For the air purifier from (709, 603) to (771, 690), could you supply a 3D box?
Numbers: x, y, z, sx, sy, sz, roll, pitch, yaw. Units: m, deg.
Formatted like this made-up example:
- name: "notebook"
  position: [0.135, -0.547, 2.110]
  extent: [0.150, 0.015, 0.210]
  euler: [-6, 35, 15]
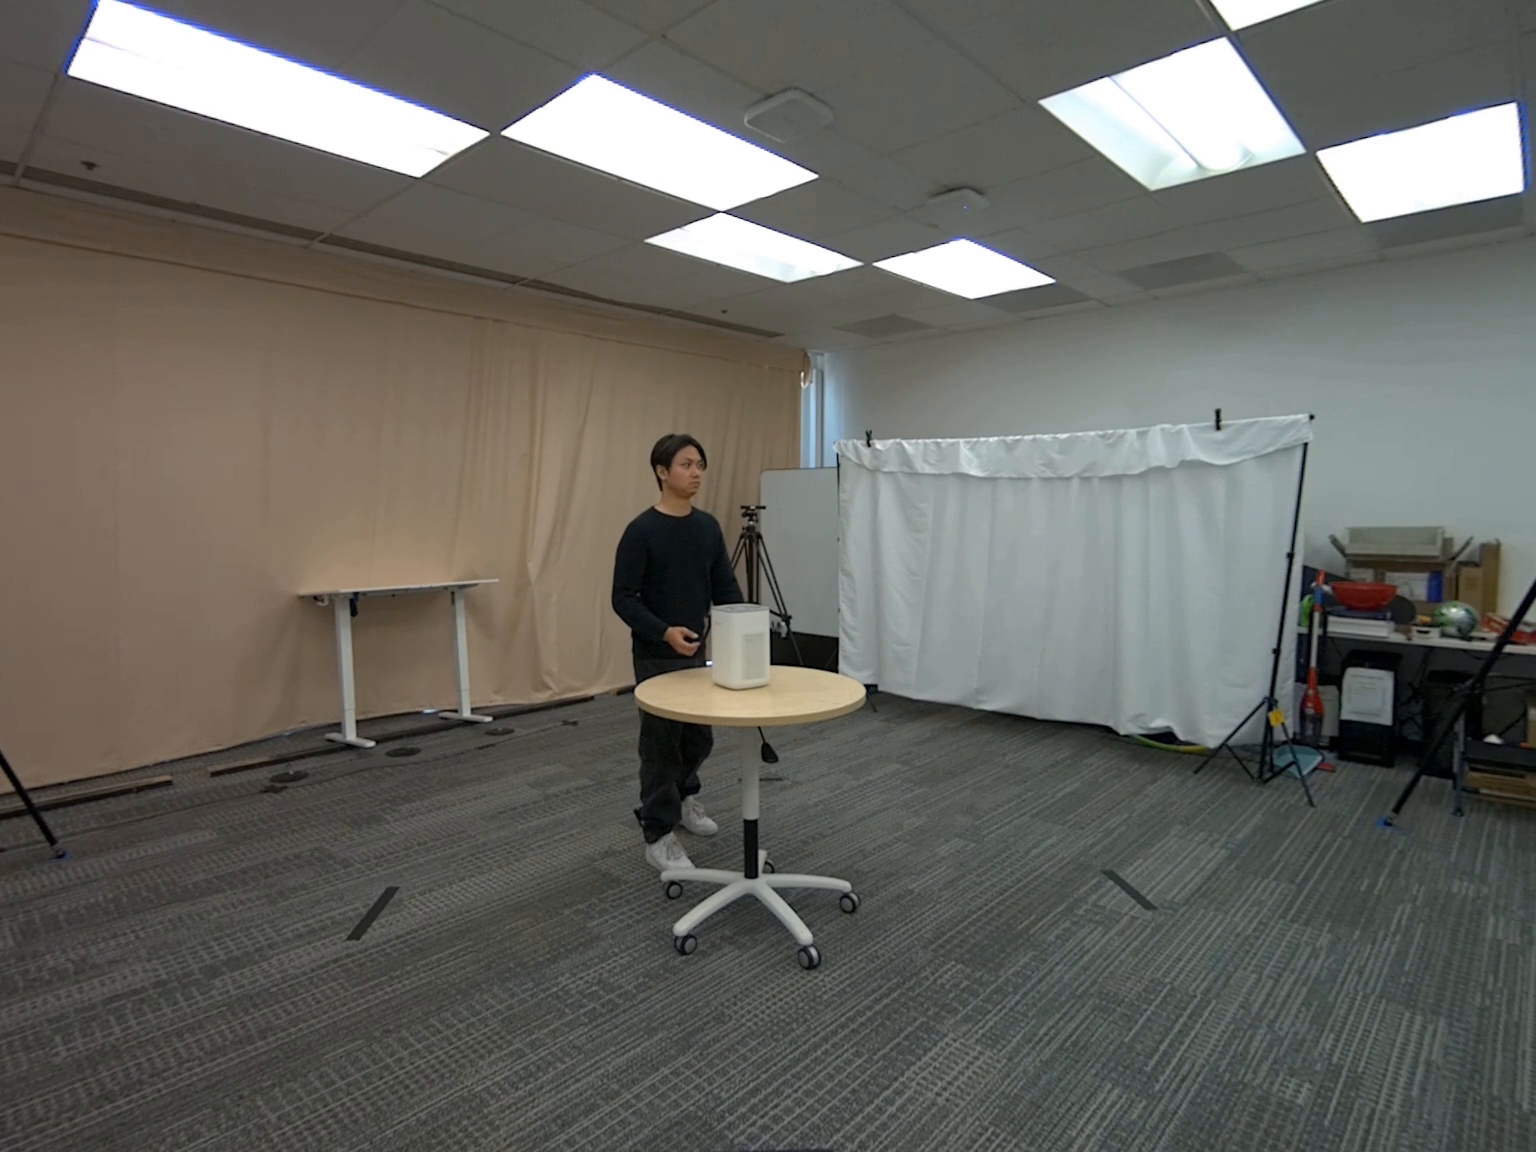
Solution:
- name: "air purifier"
  position: [-0.090, 0.238, 2.837]
  extent: [0.167, 0.264, 0.176]
  euler: [-4, 6, -34]
